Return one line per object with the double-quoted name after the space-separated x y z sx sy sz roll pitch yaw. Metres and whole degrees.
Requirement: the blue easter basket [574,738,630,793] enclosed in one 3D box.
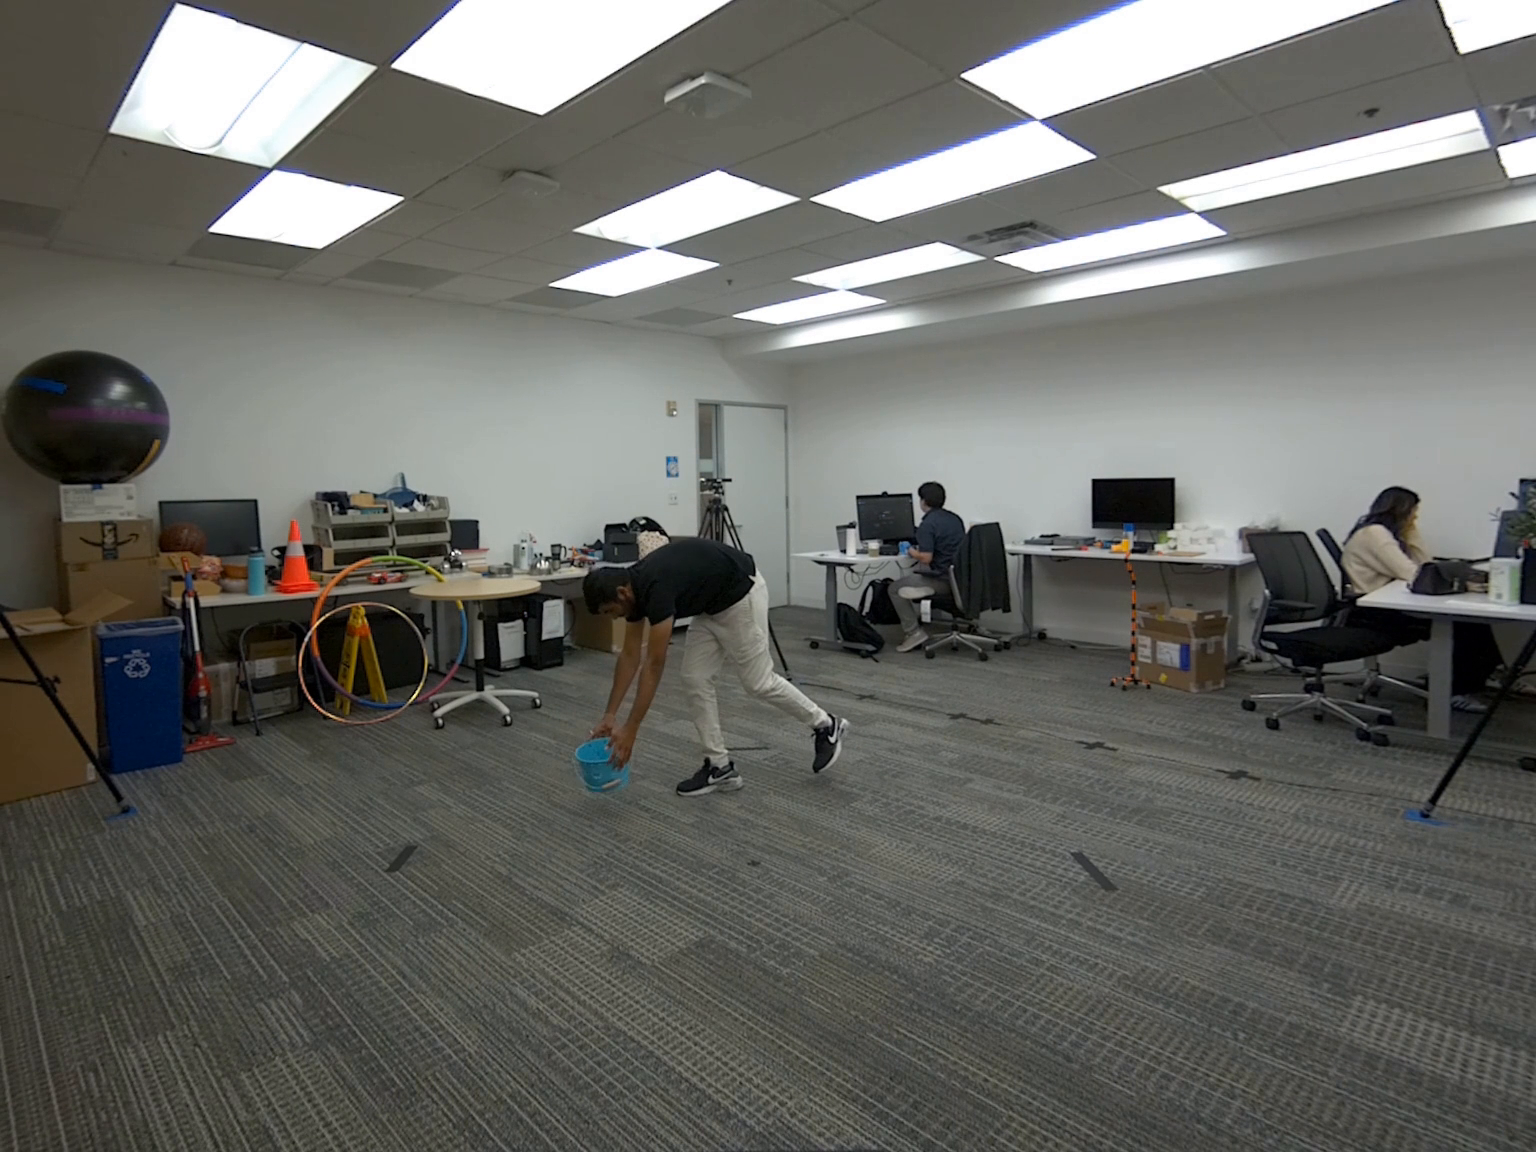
-0.702 0.804 3.590 0.243 0.154 0.246 -5 10 -1 "blue easter basket"
